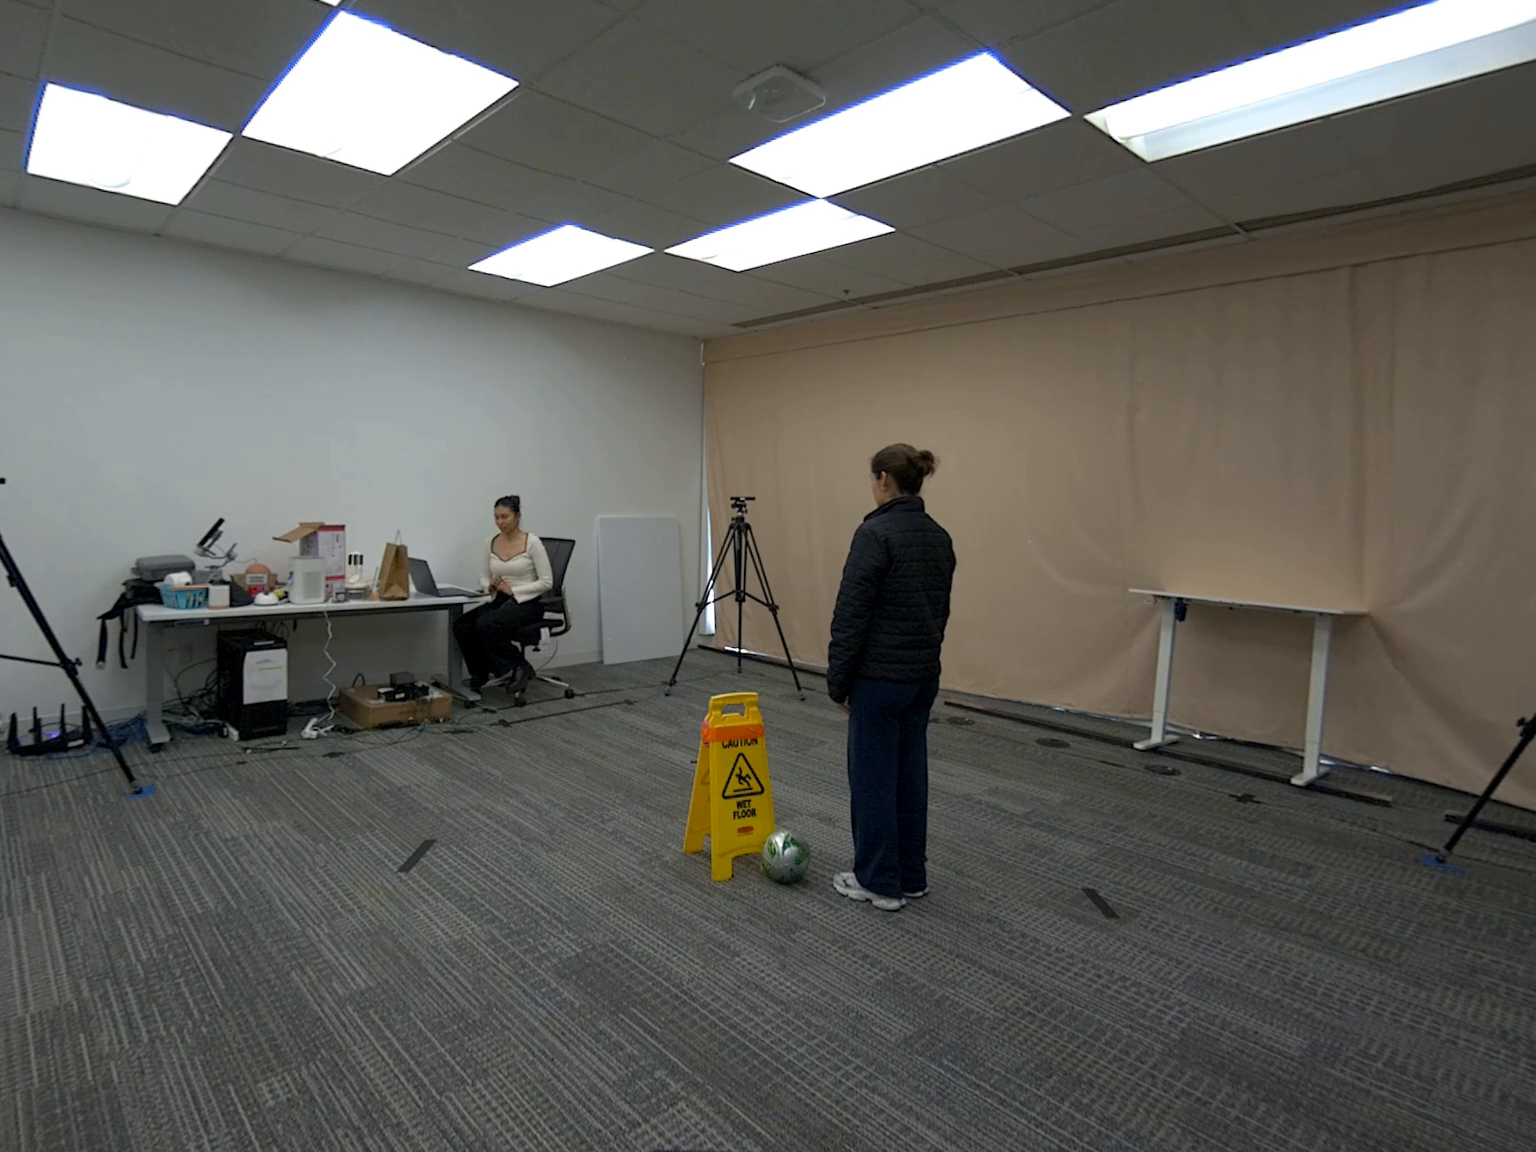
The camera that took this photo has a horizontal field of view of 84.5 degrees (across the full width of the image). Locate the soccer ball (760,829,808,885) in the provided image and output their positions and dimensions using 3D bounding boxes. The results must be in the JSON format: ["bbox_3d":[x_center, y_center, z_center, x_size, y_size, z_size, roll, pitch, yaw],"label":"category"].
[{"bbox_3d":[0.066,1.013,3.069,0.187,0.187,0.188,1,4,-1],"label":"soccer ball"}]
